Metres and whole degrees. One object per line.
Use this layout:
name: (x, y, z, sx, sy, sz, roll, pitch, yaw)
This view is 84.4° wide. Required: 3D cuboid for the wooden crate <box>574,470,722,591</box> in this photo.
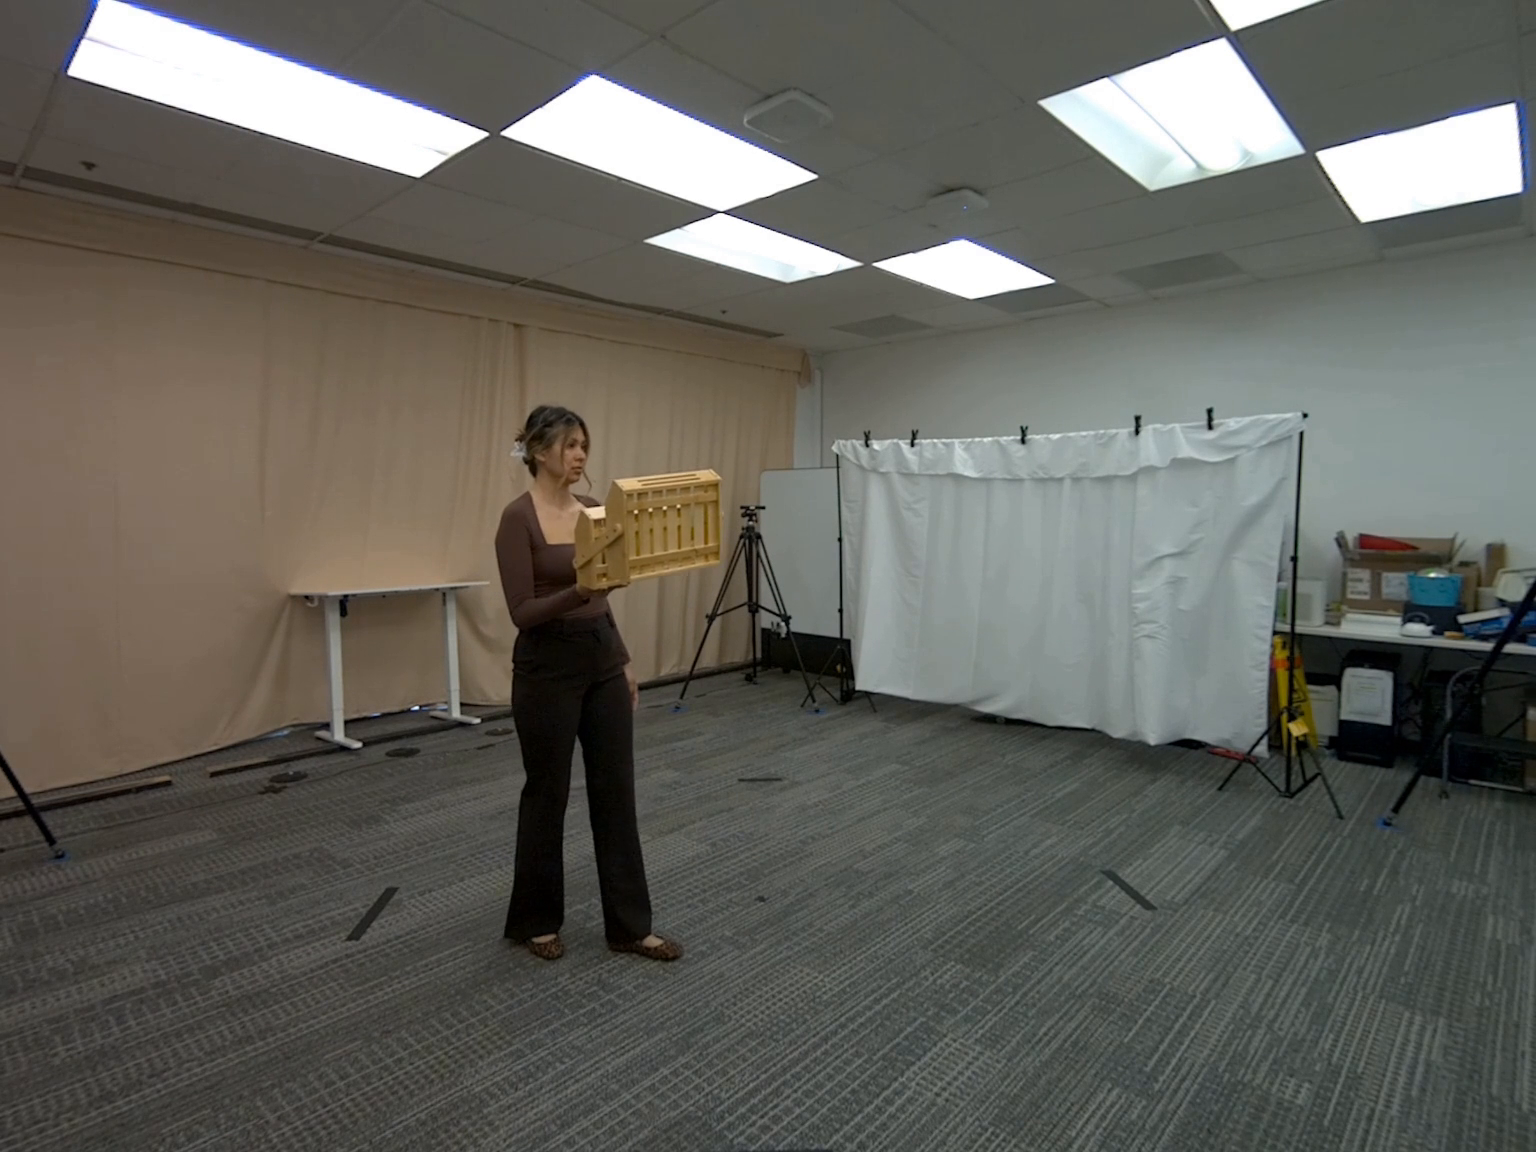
wooden crate: (-0.321, -0.131, 2.240, 0.316, 0.300, 0.283, -10, 16, -38)
